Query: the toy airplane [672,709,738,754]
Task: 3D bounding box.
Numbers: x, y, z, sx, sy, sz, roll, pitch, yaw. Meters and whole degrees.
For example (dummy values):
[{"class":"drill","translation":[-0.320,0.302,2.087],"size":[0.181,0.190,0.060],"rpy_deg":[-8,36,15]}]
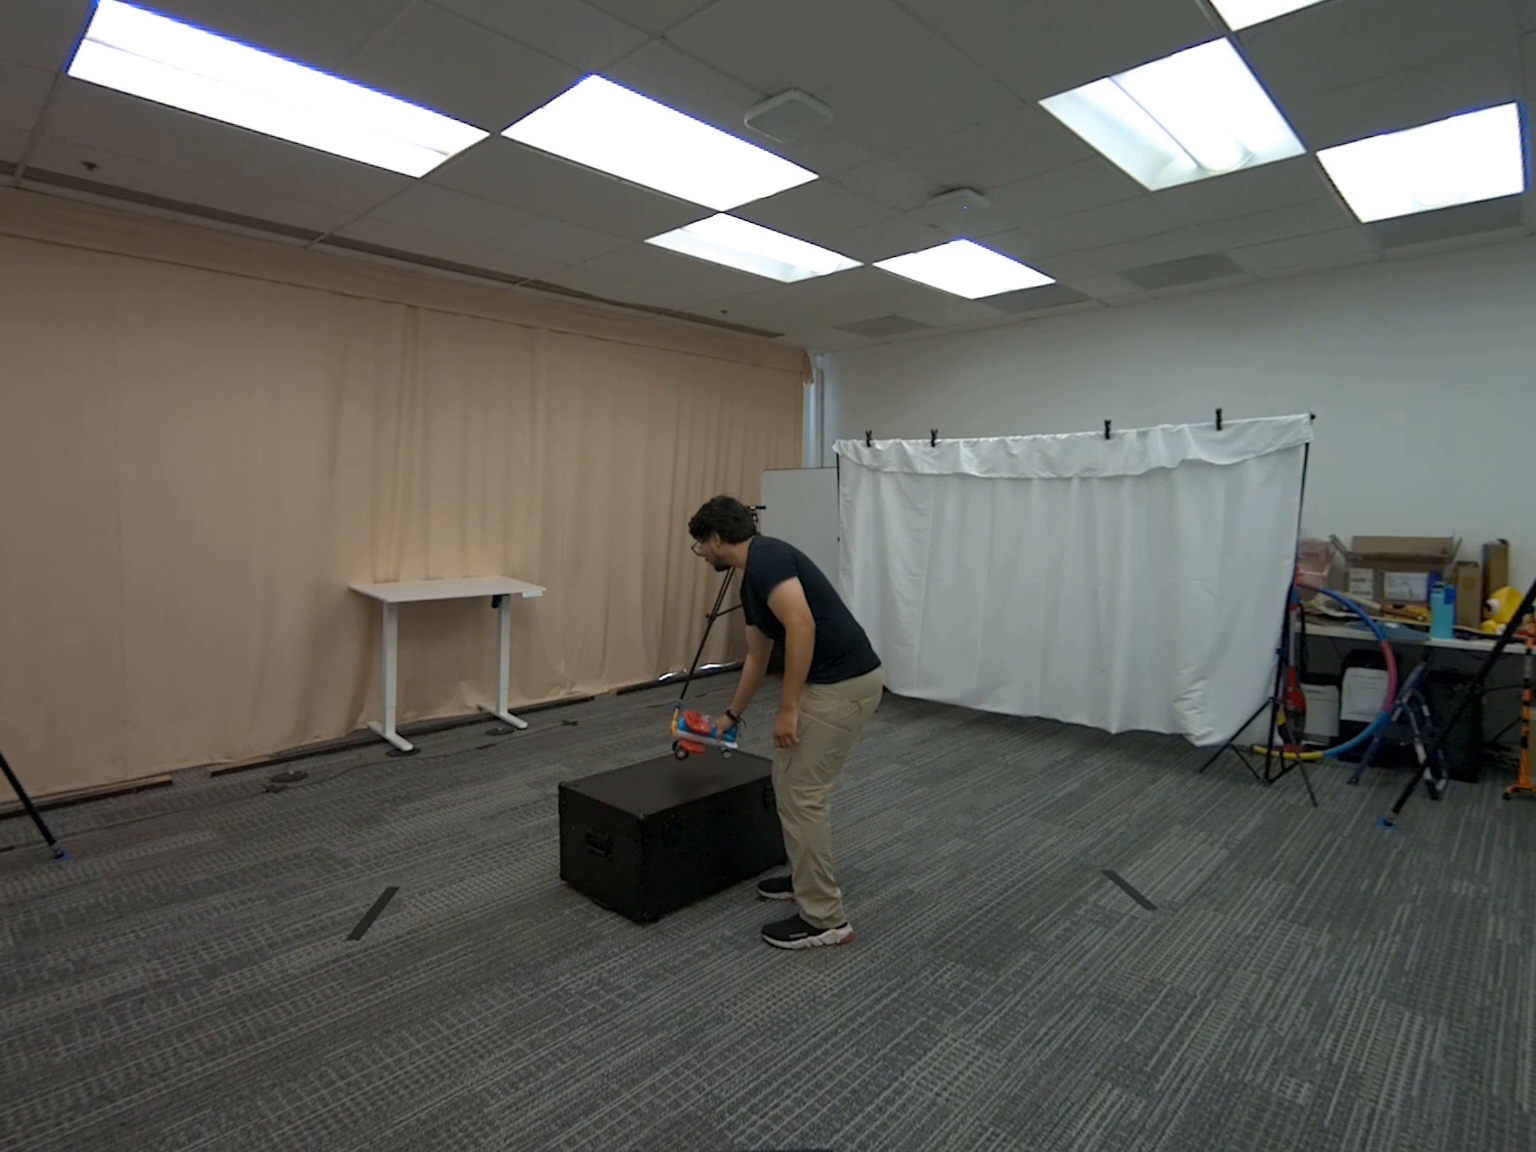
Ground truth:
[{"class":"toy airplane","translation":[-0.246,0.601,3.220],"size":[0.252,0.156,0.259],"rpy_deg":[-3,6,-36]}]
